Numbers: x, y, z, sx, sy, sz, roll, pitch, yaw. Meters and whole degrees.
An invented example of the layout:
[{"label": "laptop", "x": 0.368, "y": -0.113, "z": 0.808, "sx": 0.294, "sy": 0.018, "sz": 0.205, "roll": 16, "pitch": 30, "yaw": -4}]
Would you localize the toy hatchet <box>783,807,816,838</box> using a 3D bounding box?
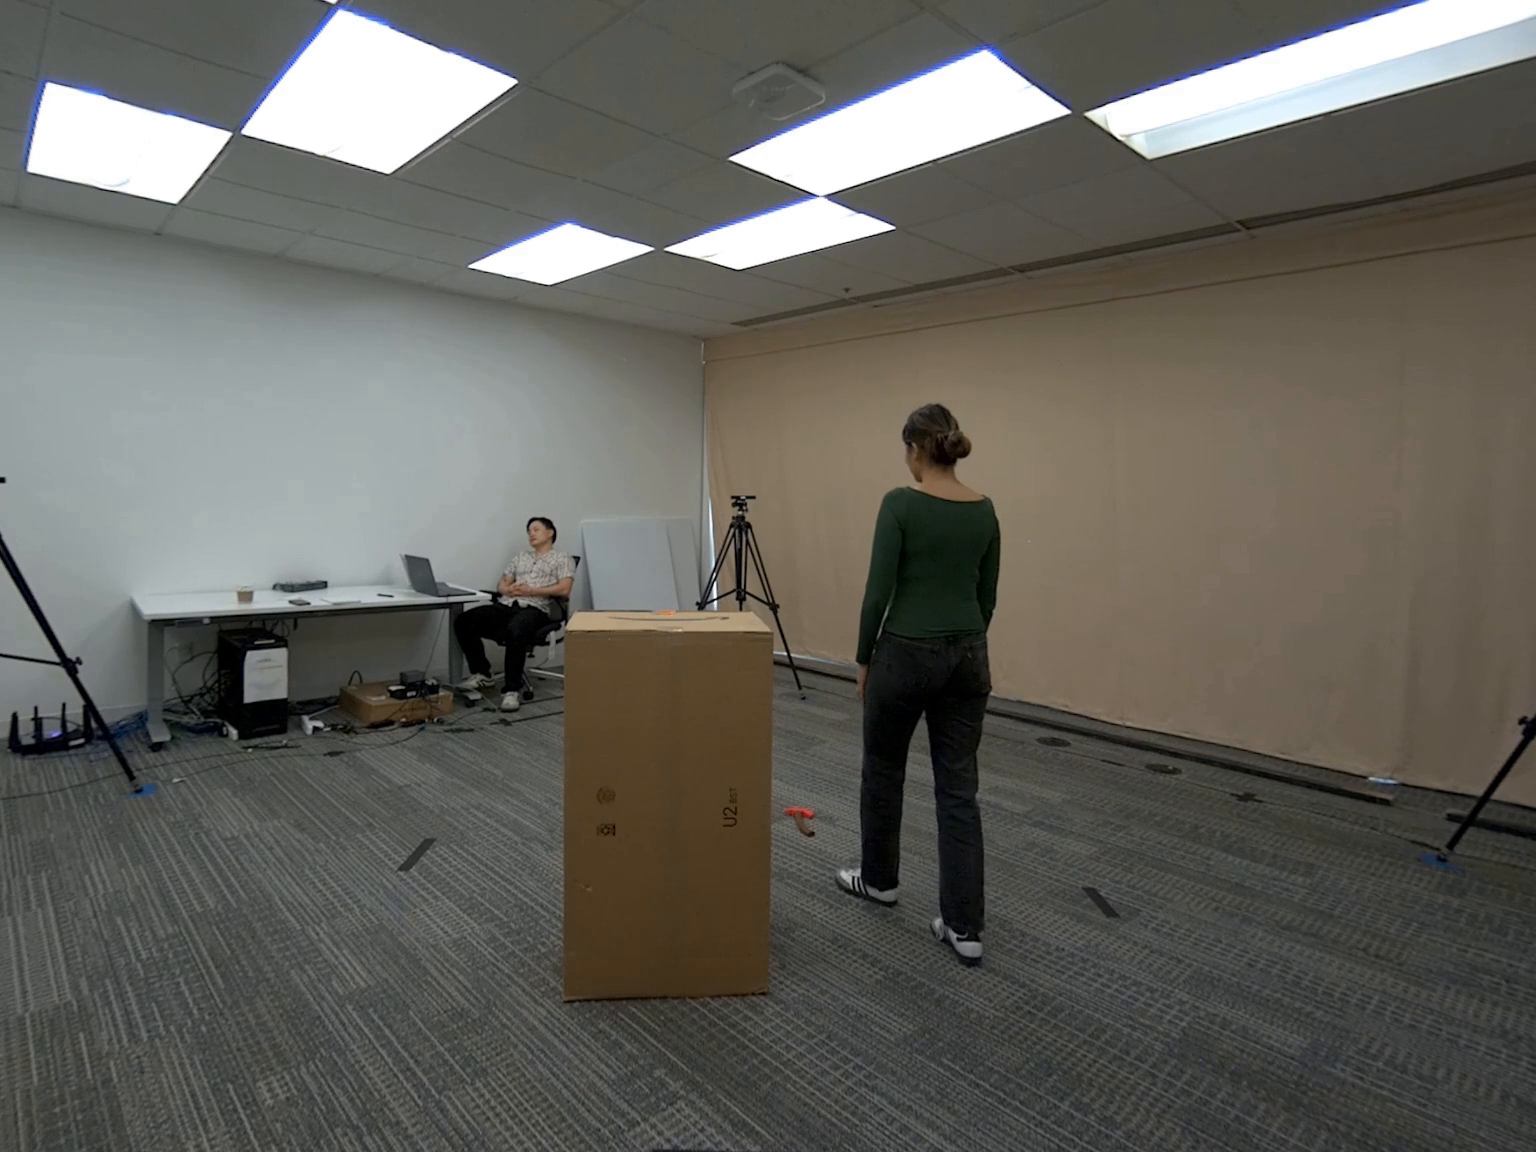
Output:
[{"label": "toy hatchet", "x": 0.158, "y": 1.048, "z": 3.604, "sx": 0.129, "sy": 0.029, "sz": 0.275, "roll": 1, "pitch": 6, "yaw": -20}]
